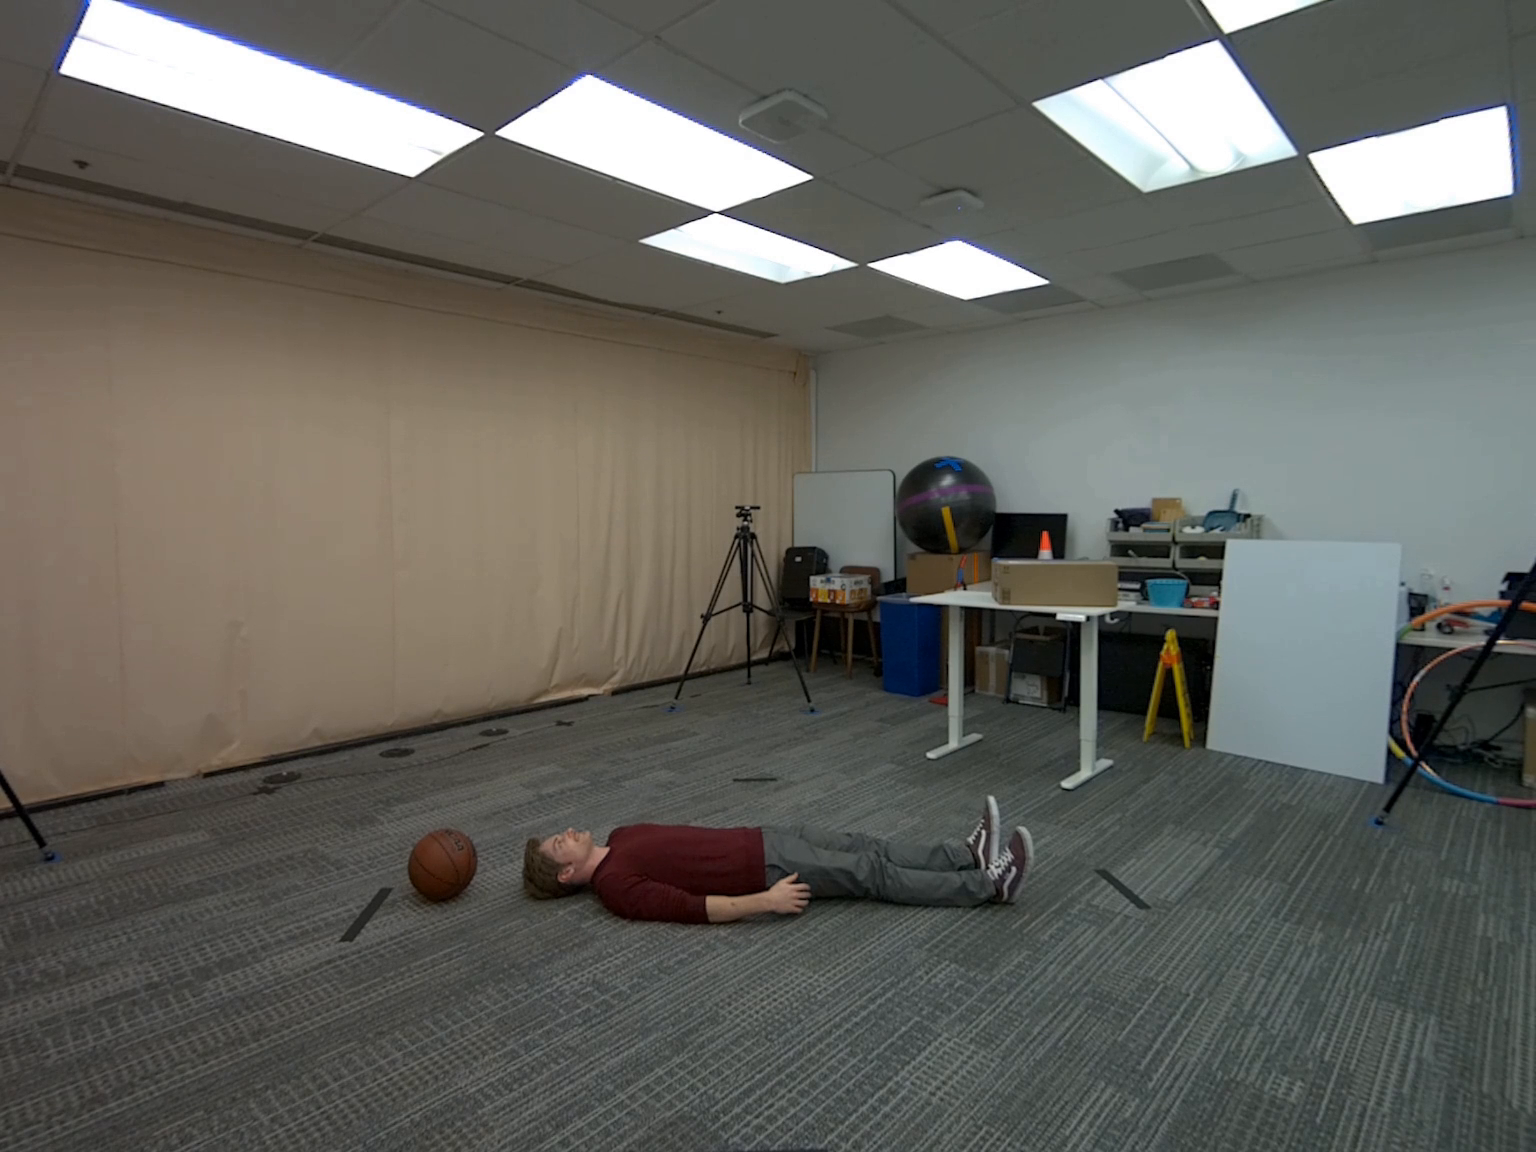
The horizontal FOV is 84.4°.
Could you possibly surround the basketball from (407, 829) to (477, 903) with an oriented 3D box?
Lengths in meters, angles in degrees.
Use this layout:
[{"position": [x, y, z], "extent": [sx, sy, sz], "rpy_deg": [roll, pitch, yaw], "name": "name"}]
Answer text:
[{"position": [-1.171, 1.035, 3.014], "extent": [0.236, 0.235, 0.237], "rpy_deg": [0, 4, -2], "name": "basketball"}]
